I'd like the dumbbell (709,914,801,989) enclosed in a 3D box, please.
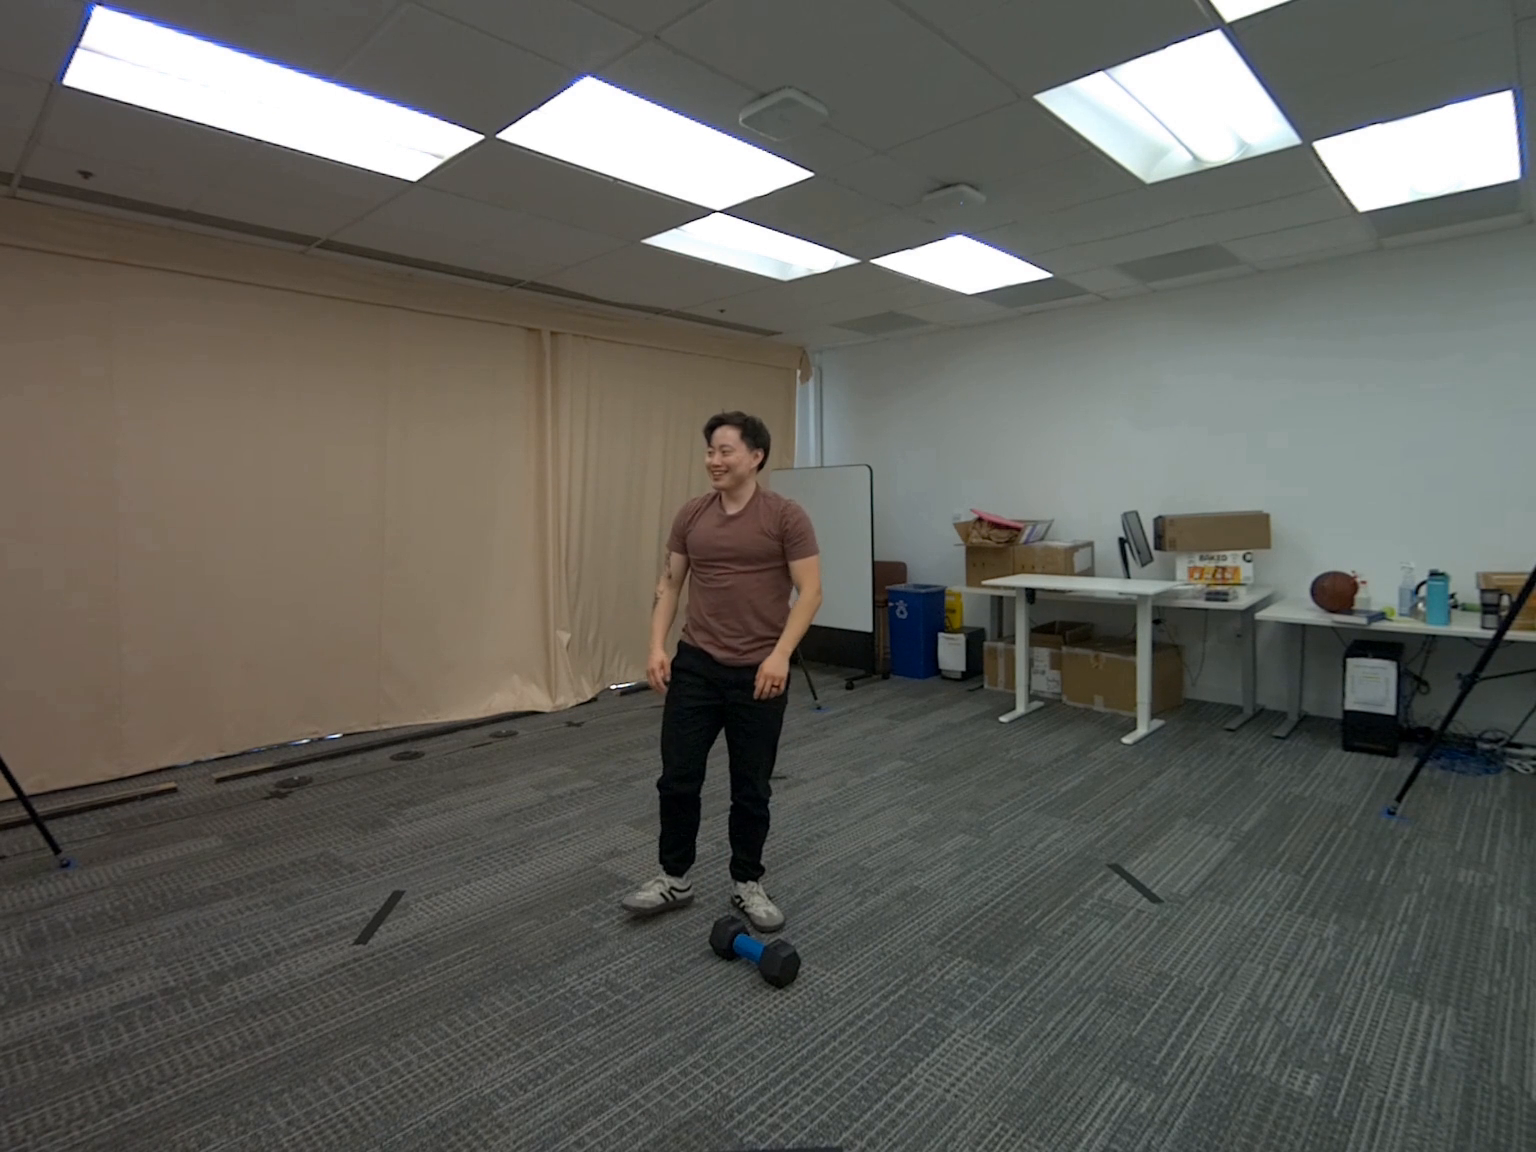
[{"bbox_3d":[-0.039,1.129,2.523,0.303,0.120,0.107,3,36,44],"label":"dumbbell"}]
